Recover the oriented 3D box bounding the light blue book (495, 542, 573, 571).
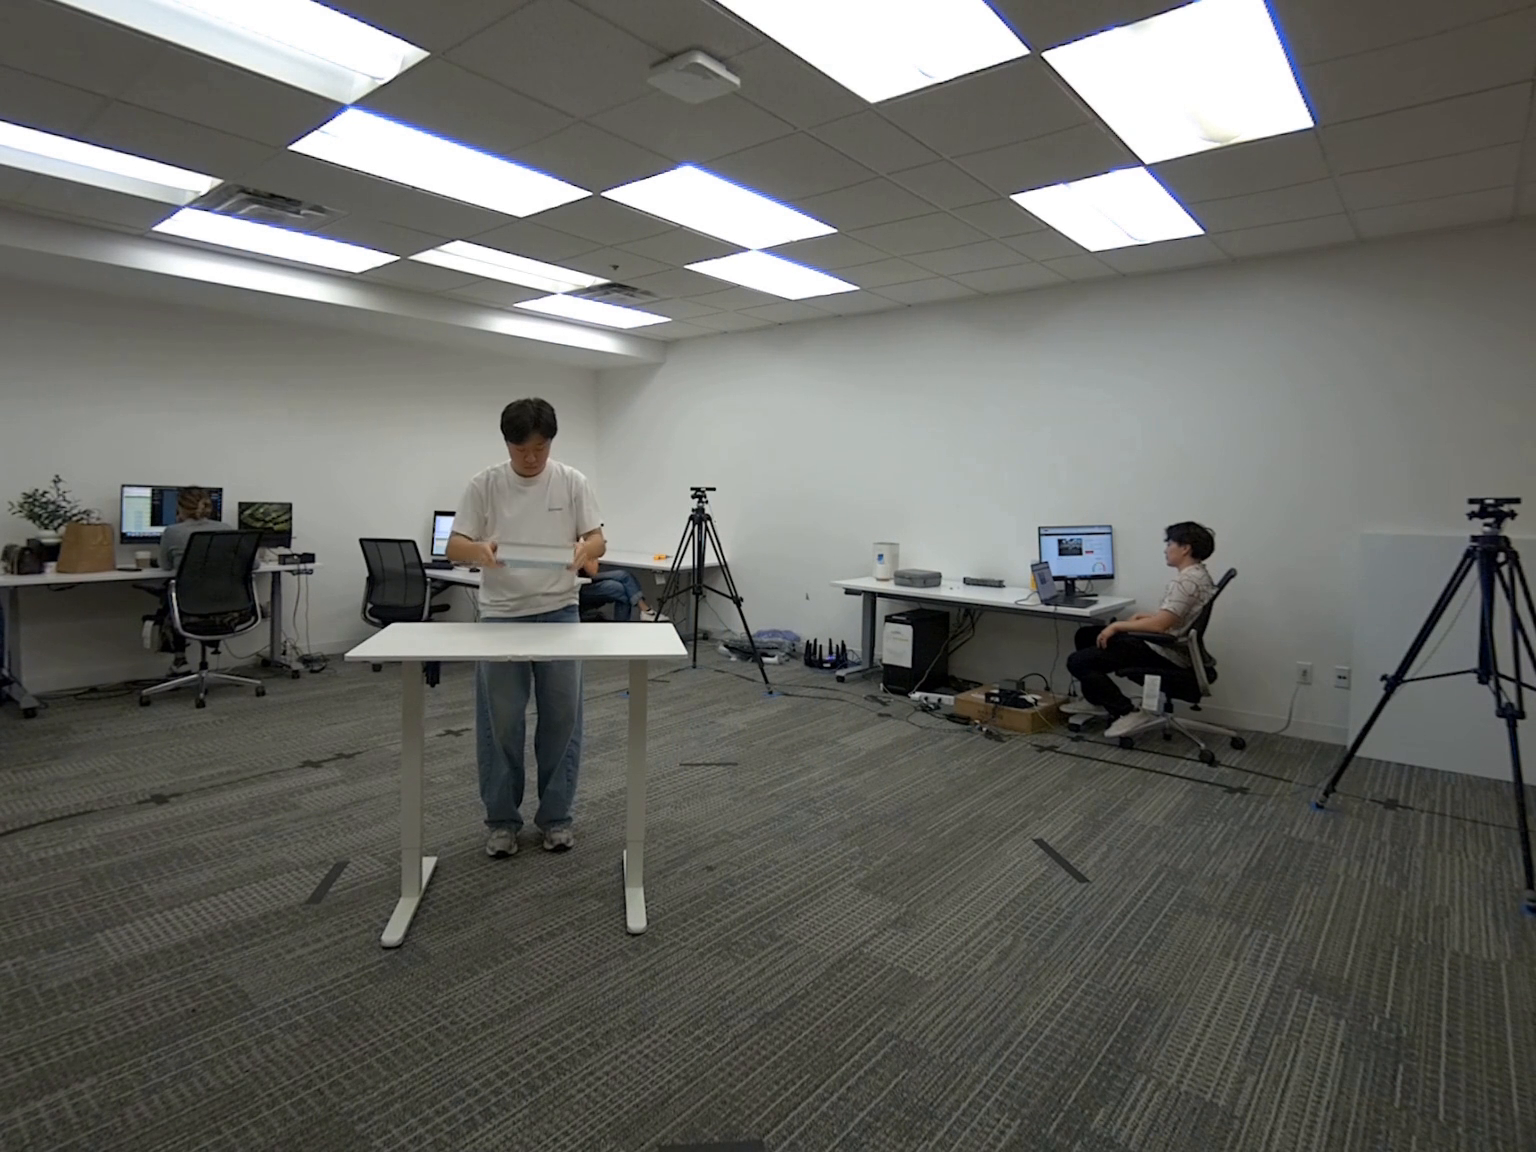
[{"bbox_3d":[-0.830,-0.090,2.945,0.258,0.059,0.193,3,-4,-12],"label":"light blue book"}]
